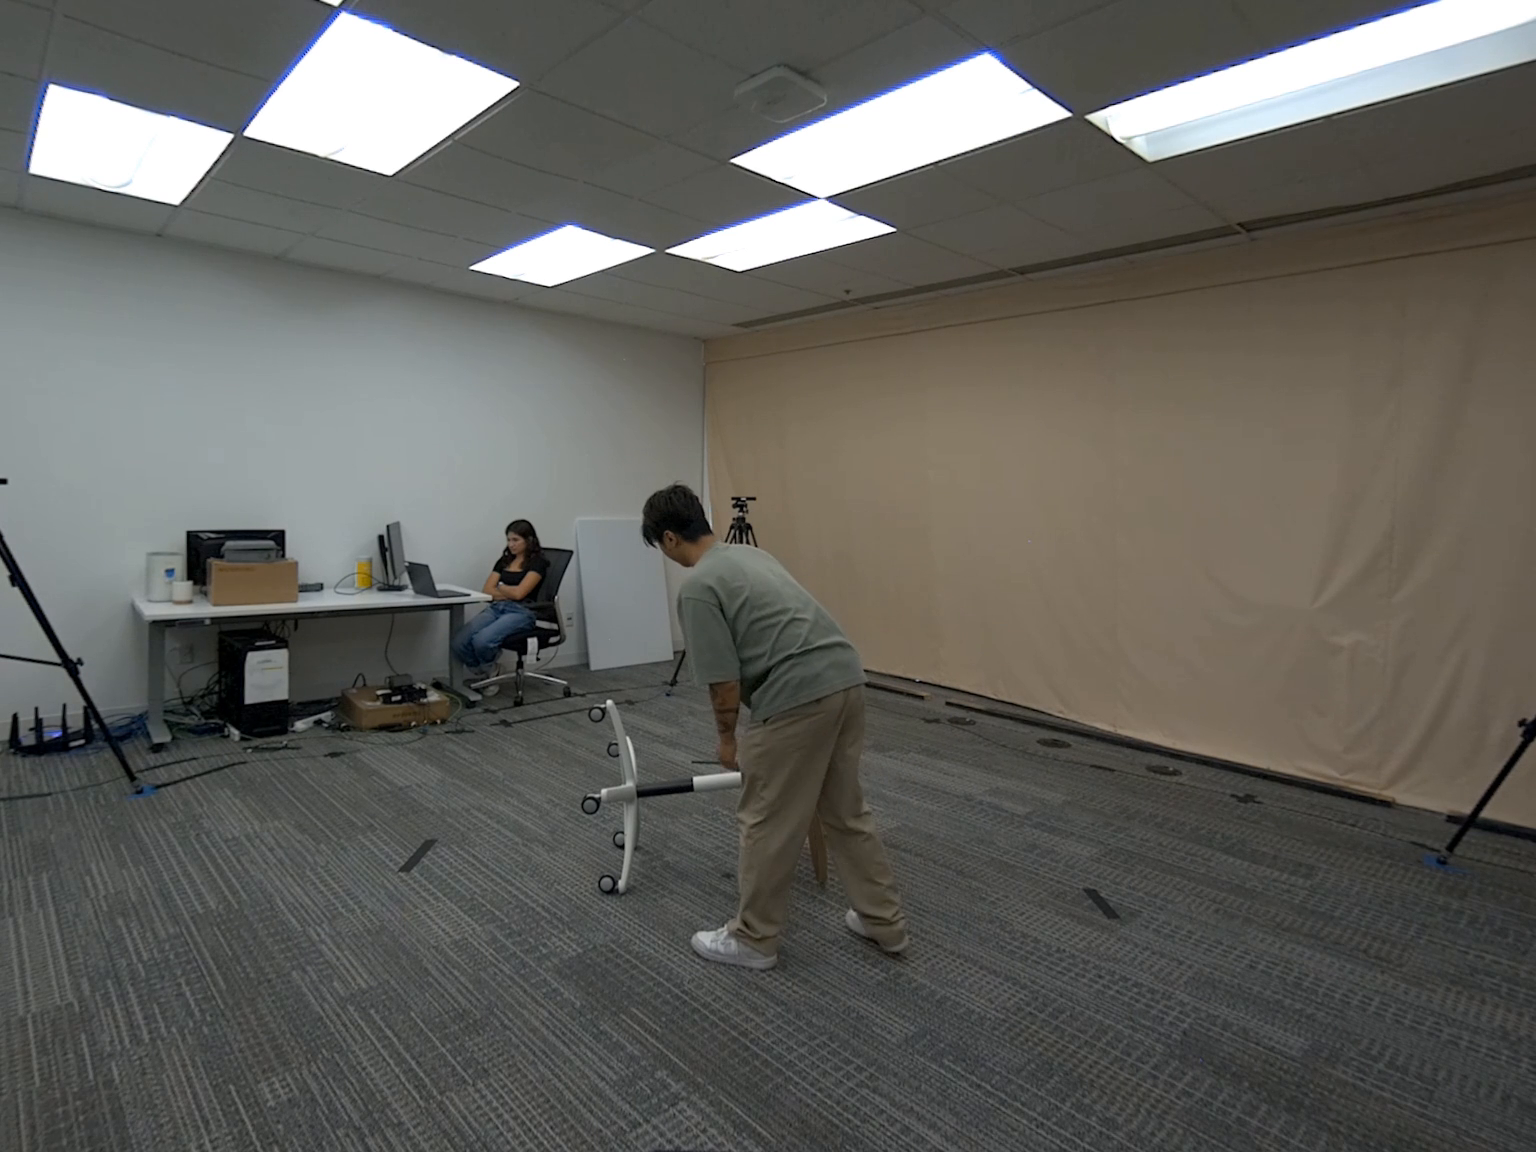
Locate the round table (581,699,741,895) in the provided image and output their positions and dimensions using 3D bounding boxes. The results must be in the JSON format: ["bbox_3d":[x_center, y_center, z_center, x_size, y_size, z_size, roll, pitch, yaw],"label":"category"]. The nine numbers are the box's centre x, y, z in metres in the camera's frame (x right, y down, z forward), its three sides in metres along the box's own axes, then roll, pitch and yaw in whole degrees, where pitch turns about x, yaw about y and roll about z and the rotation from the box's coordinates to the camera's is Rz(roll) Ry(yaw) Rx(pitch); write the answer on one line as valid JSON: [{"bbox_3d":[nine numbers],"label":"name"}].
[{"bbox_3d":[-0.238,0.768,3.138,0.785,0.782,0.788,-5,4,-2],"label":"round table"}]
